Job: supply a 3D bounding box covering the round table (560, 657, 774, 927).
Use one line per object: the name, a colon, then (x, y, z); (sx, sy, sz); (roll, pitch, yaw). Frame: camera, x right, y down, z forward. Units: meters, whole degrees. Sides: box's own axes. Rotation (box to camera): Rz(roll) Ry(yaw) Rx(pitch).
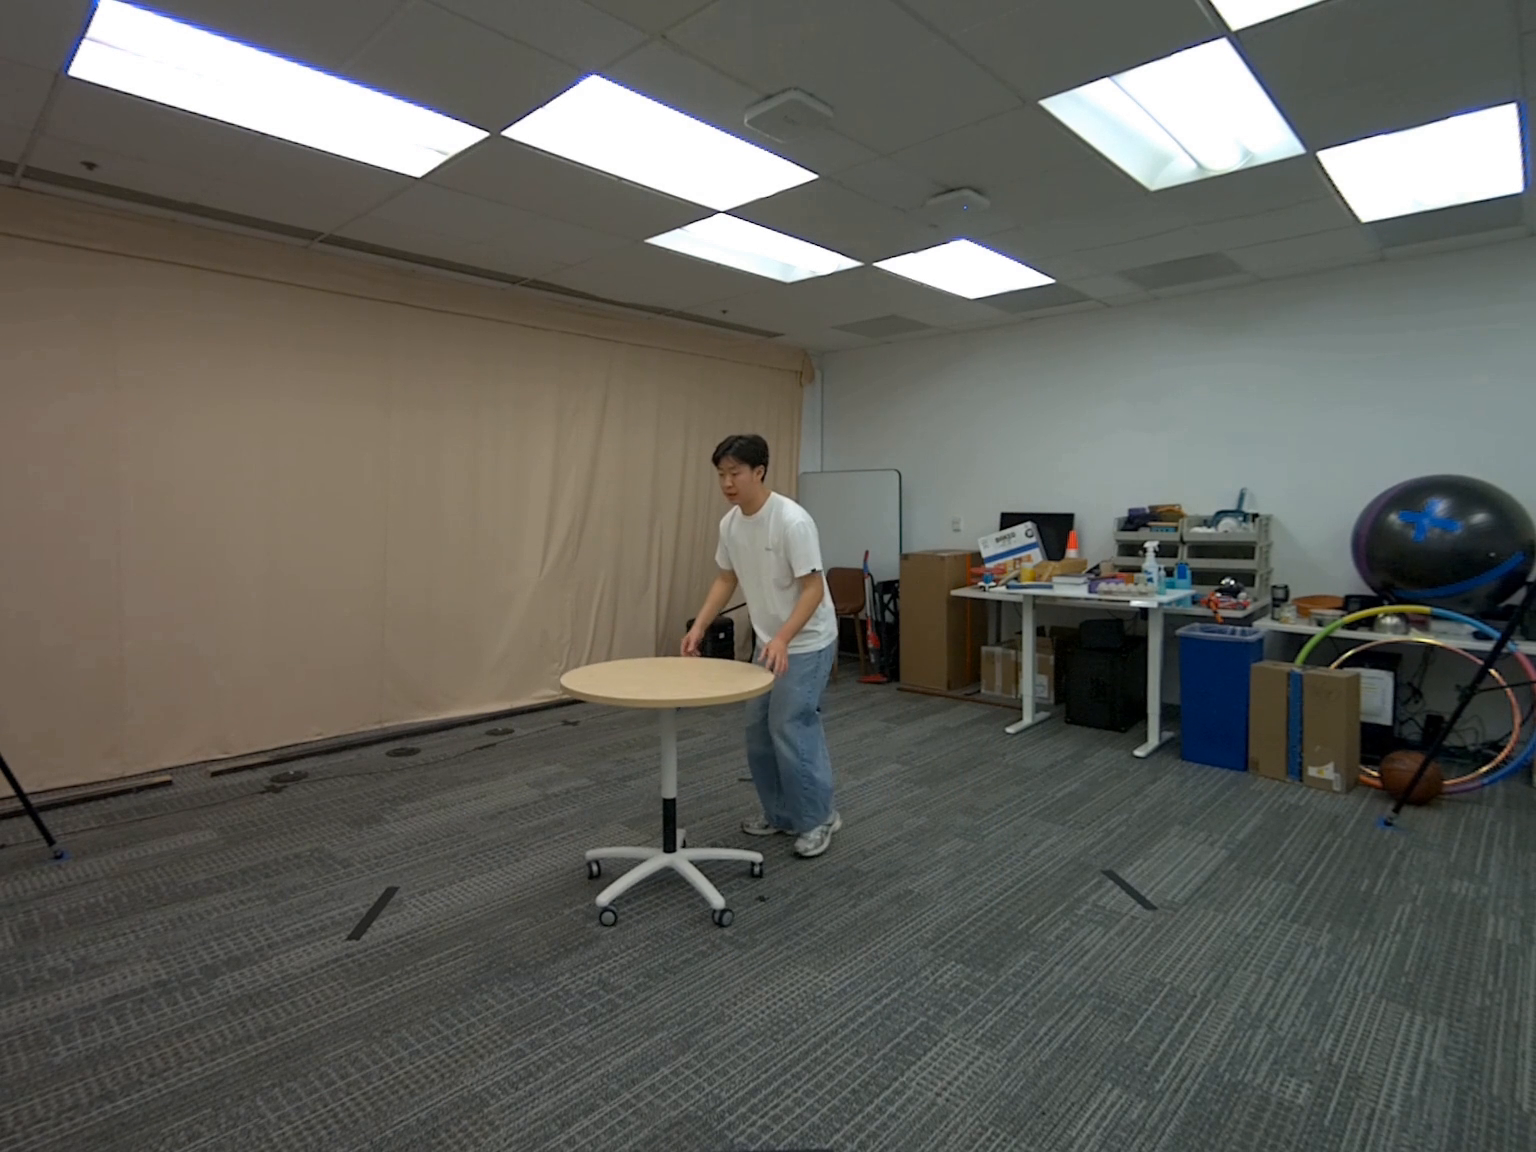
round table: (-0.342, 0.745, 3.049); (0.784, 0.785, 0.788); (-1, 4, -2)
